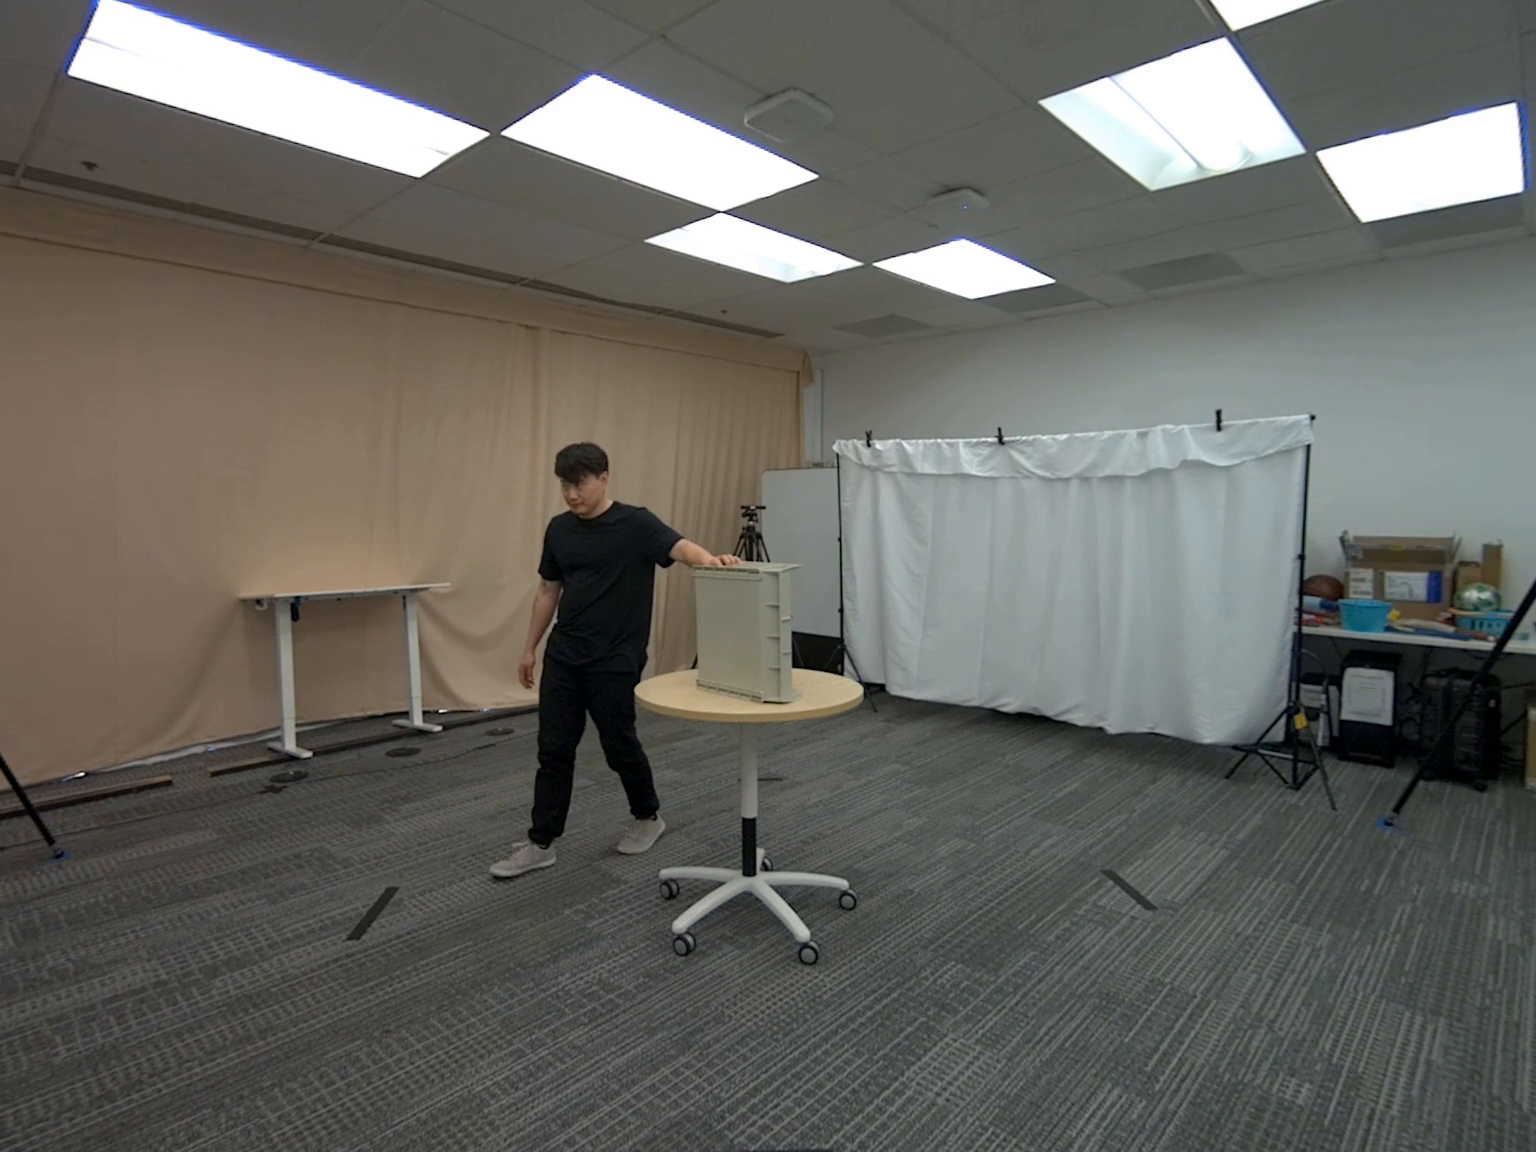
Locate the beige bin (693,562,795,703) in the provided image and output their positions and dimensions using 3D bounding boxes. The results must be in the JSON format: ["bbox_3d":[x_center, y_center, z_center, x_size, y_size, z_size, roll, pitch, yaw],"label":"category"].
[{"bbox_3d":[-0.049,0.174,2.721,0.390,0.421,0.183,2,5,44],"label":"beige bin"}]
